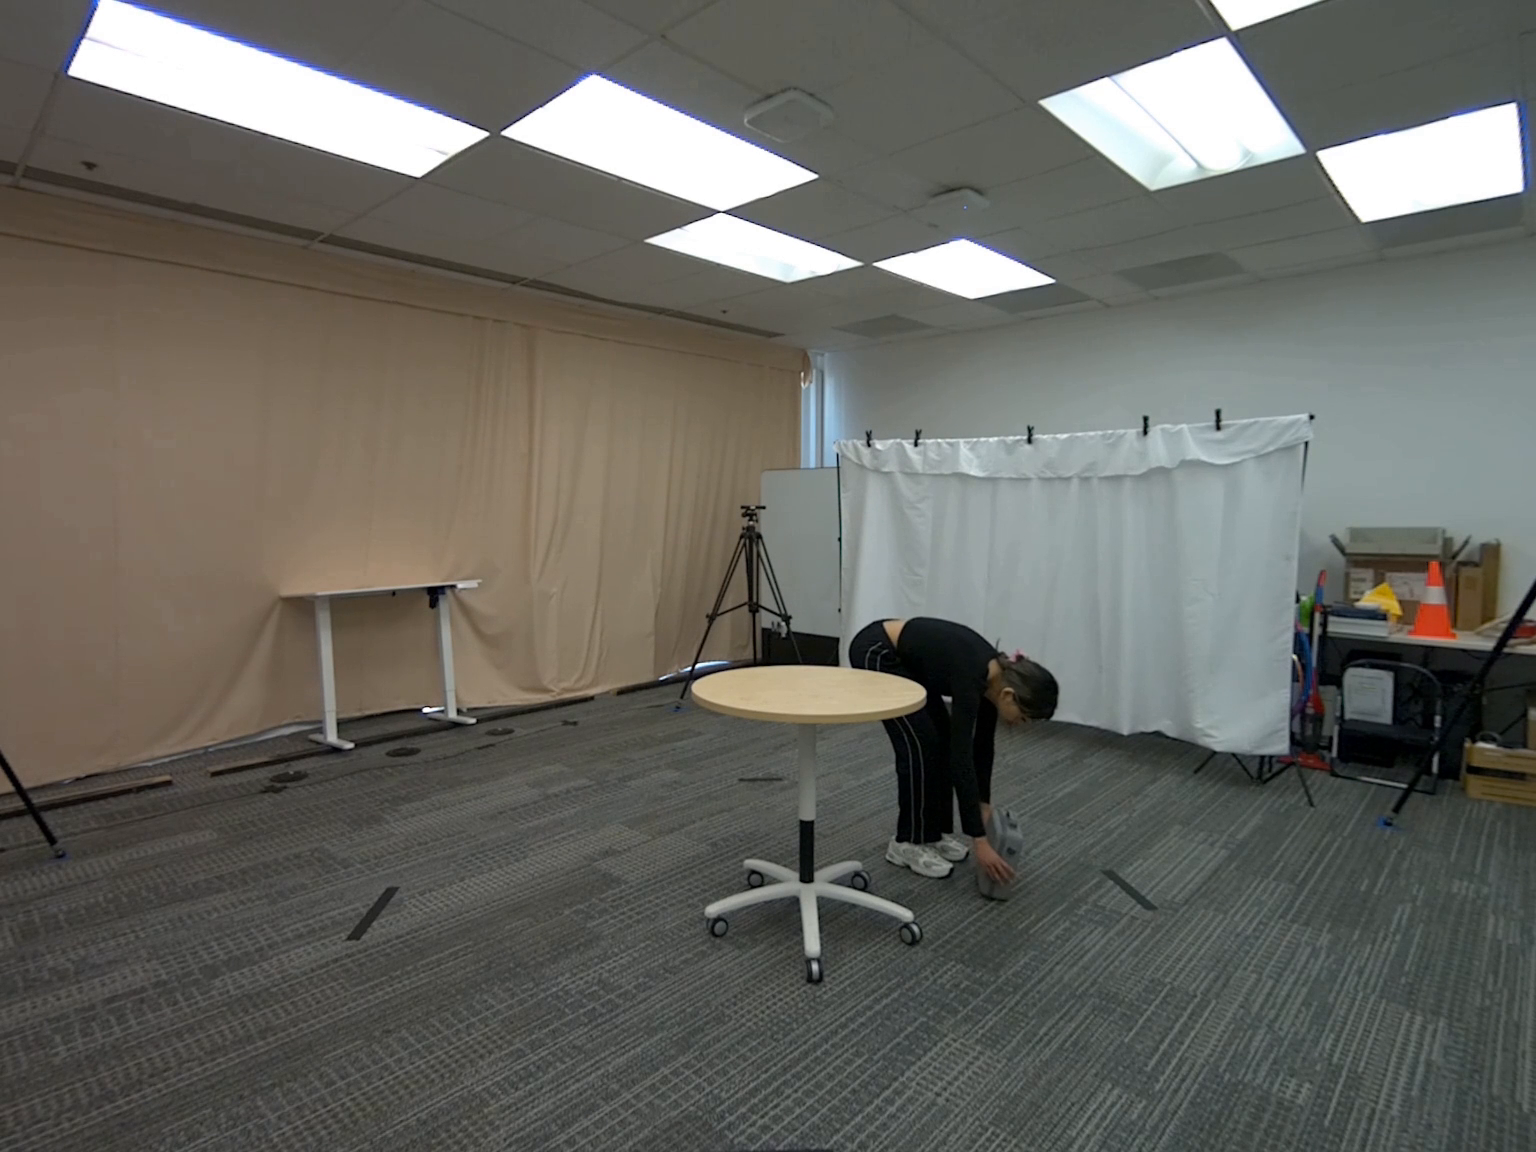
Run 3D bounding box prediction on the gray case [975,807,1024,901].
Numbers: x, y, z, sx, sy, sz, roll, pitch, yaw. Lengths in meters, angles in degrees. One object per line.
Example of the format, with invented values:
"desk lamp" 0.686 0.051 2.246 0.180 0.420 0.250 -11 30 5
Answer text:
"gray case" 0.840 1.000 3.068 0.106 0.260 0.254 11 5 10
